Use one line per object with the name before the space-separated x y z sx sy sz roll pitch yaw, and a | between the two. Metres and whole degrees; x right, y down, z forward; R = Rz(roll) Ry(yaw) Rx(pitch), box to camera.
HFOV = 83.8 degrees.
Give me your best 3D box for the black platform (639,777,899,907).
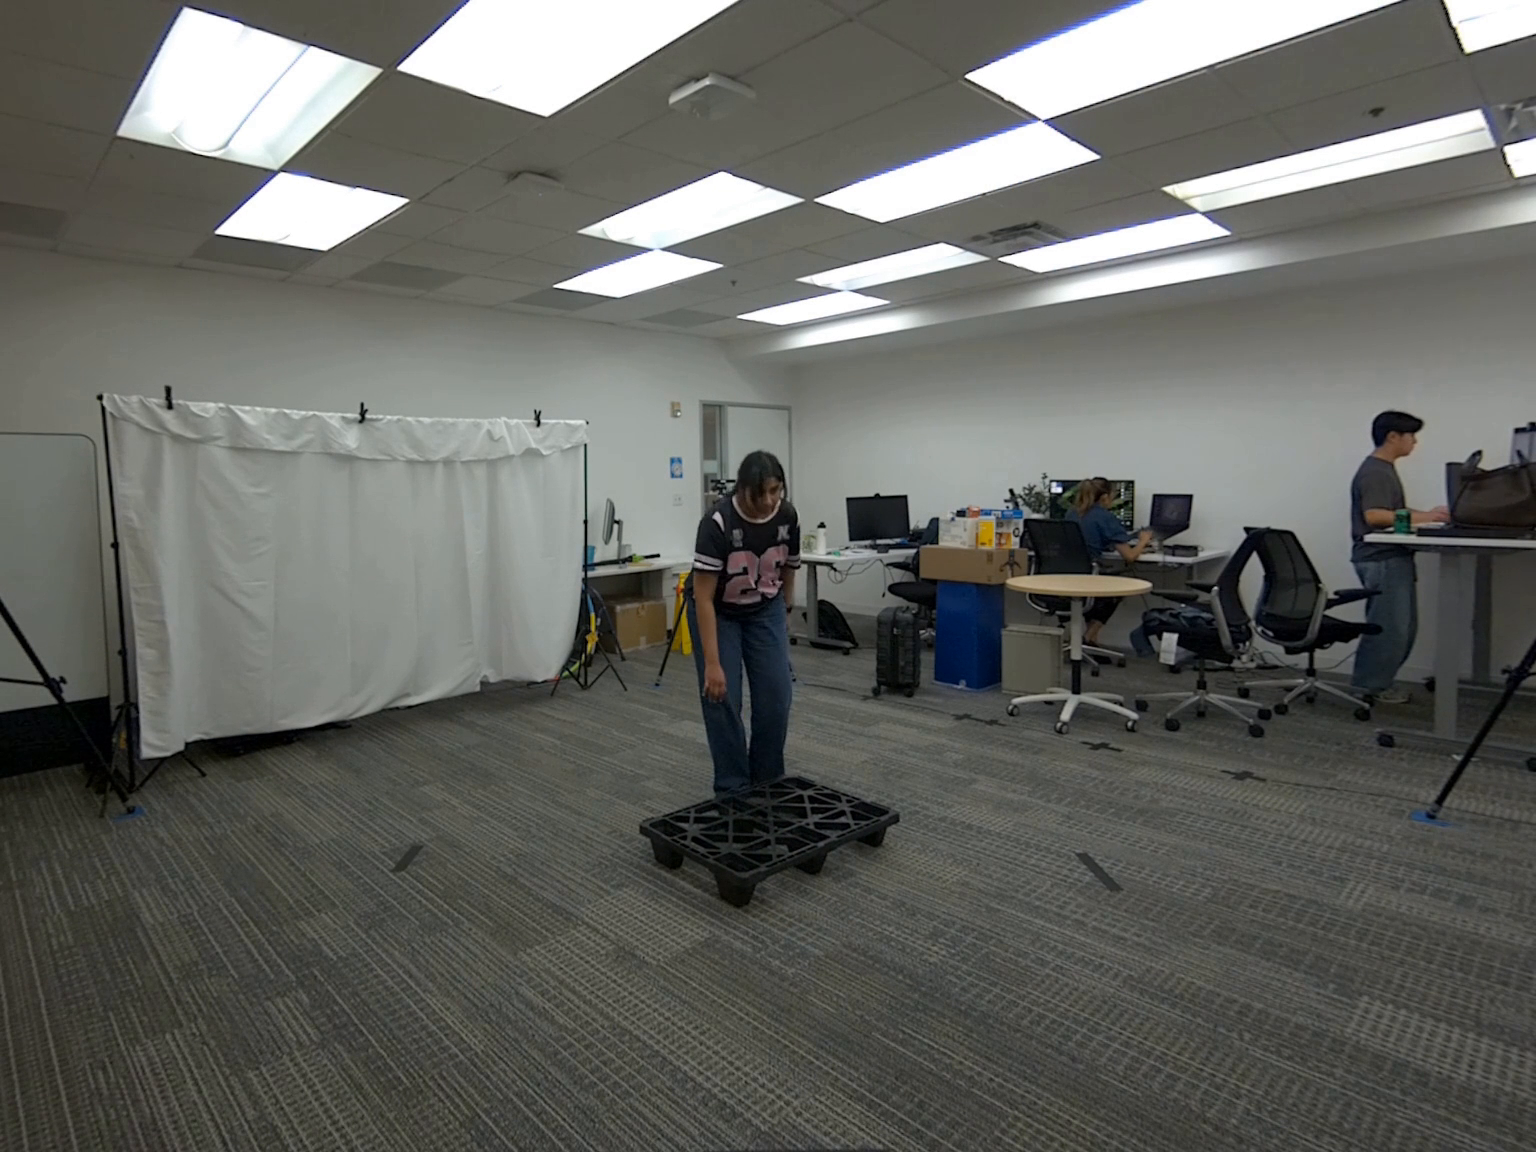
black platform | 0.019 0.971 3.195 0.785 0.142 0.624 -7 9 -41
